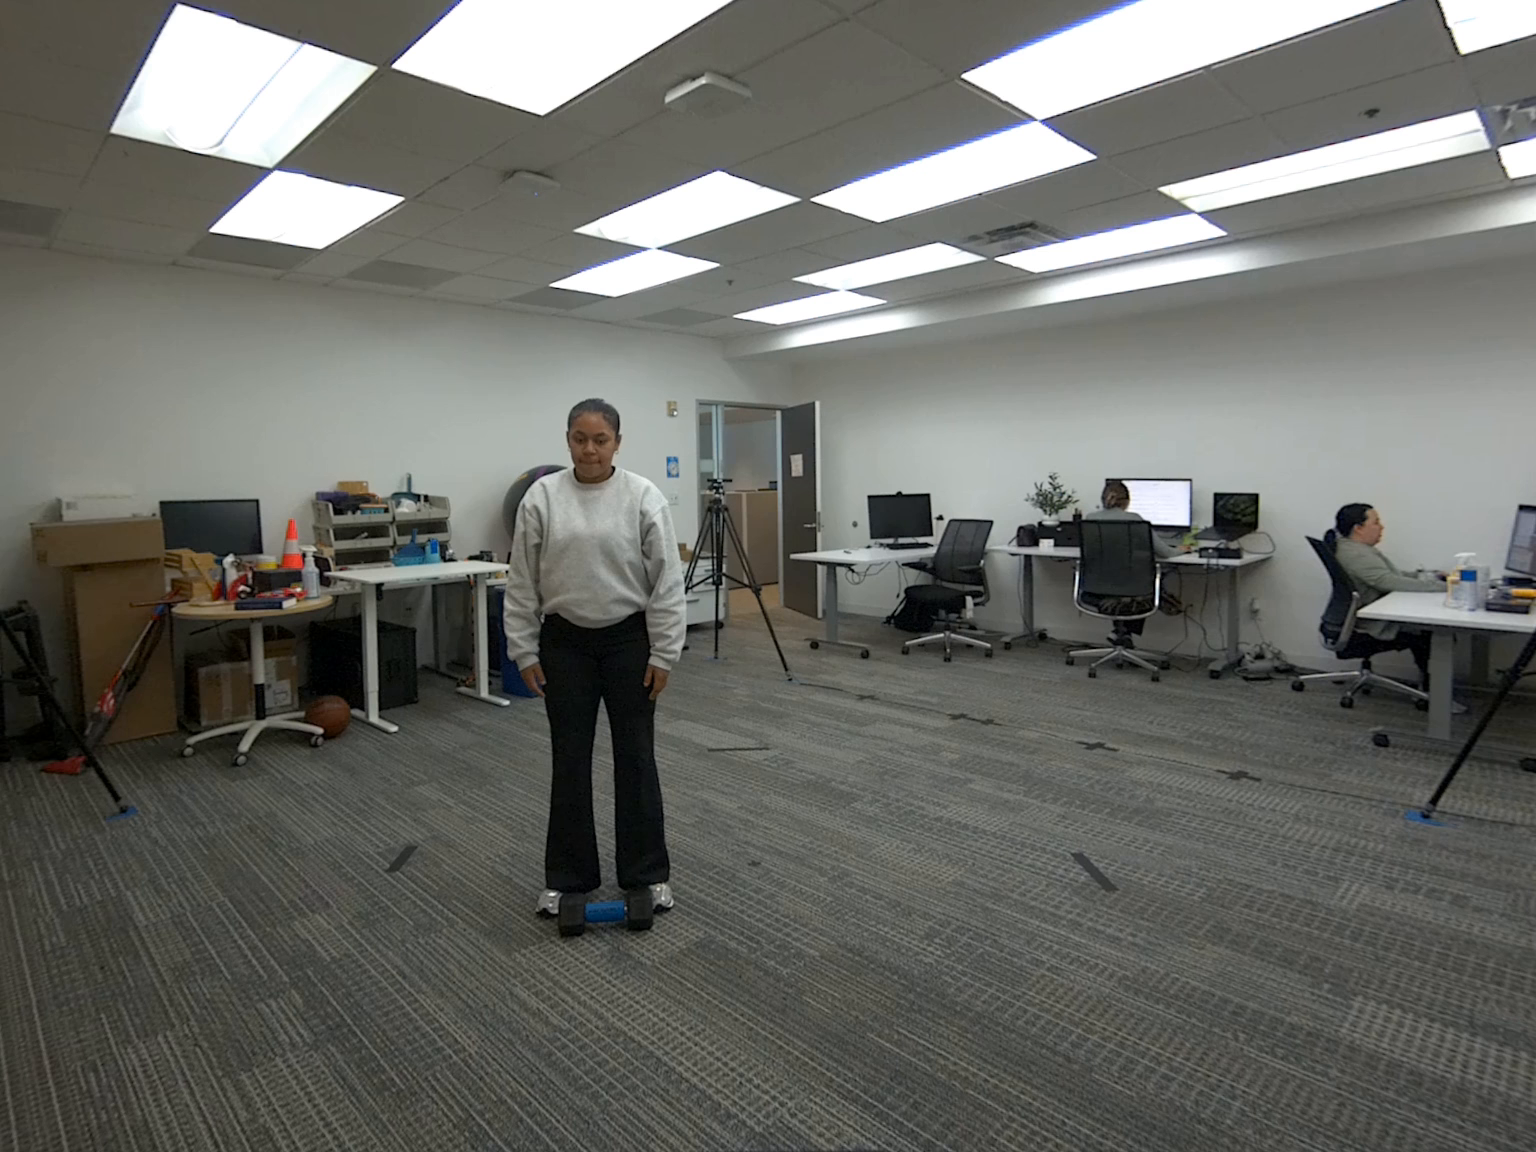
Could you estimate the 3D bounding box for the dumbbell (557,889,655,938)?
[{"bbox_3d":[-0.511,1.057,2.675,0.291,0.126,0.107,-2,-26,-8],"label":"dumbbell"}]
